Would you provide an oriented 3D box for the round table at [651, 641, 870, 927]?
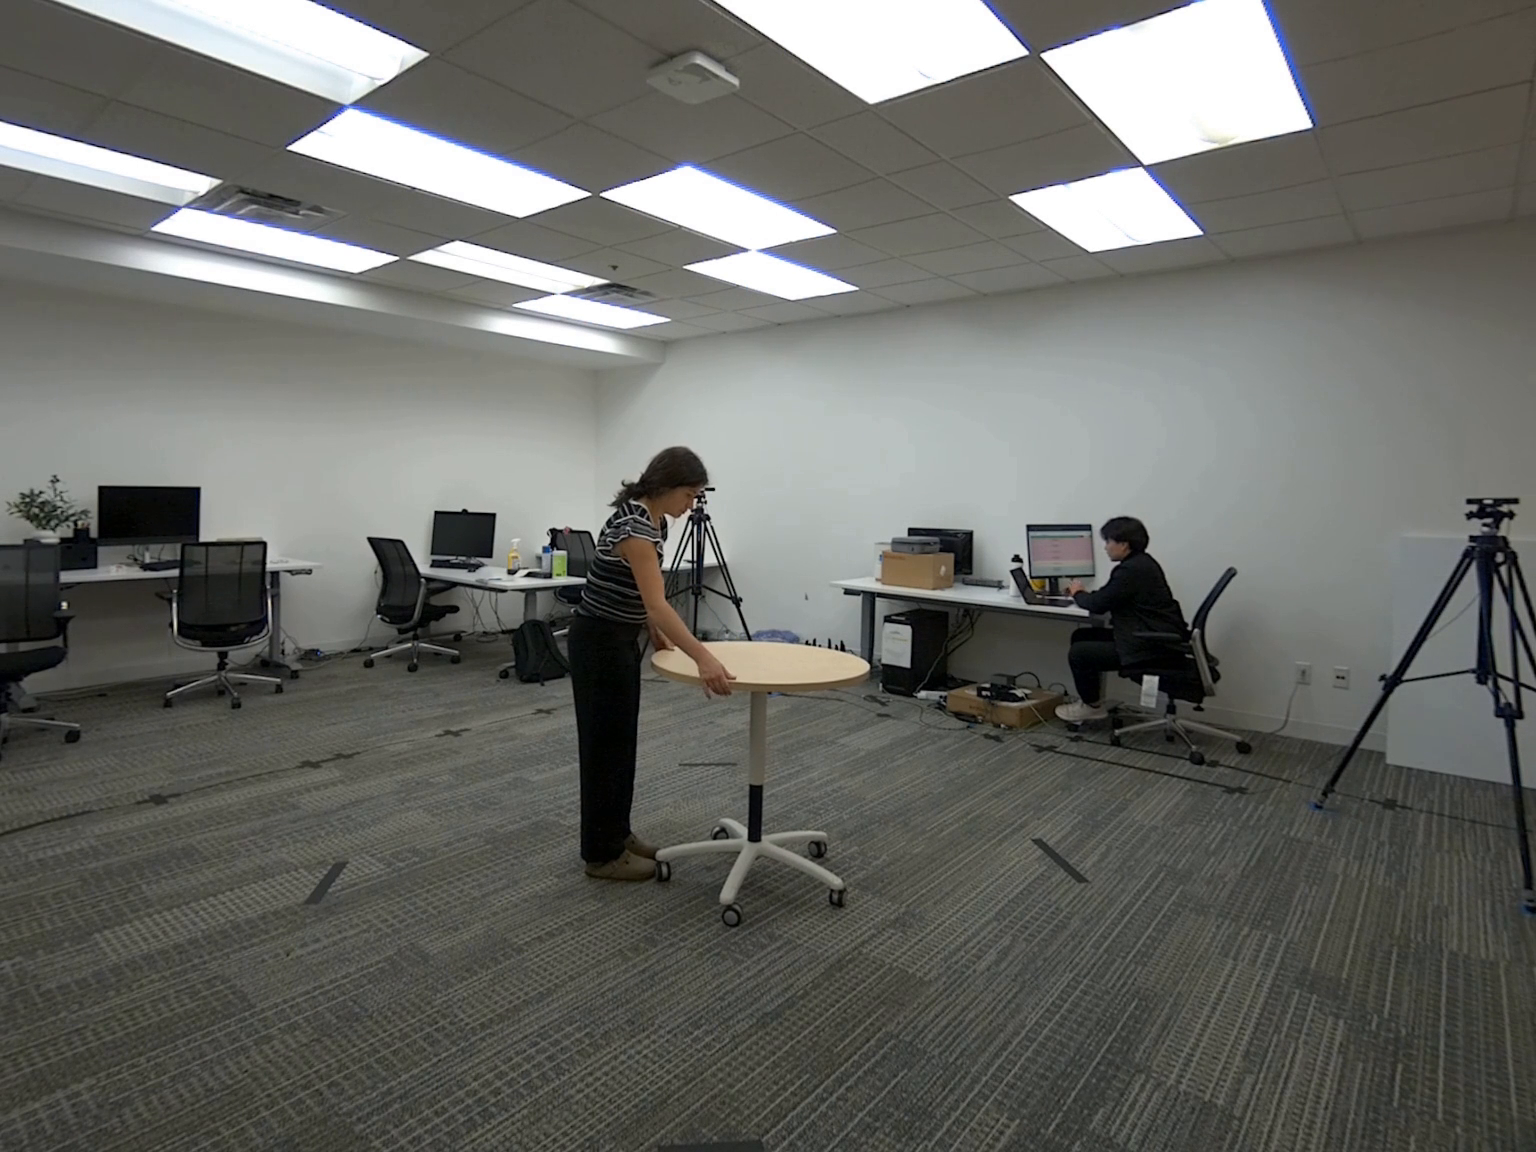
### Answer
[{"bbox_3d":[-0.031,0.687,3.001,0.784,0.784,0.789,1,4,-2],"label":"round table"}]
